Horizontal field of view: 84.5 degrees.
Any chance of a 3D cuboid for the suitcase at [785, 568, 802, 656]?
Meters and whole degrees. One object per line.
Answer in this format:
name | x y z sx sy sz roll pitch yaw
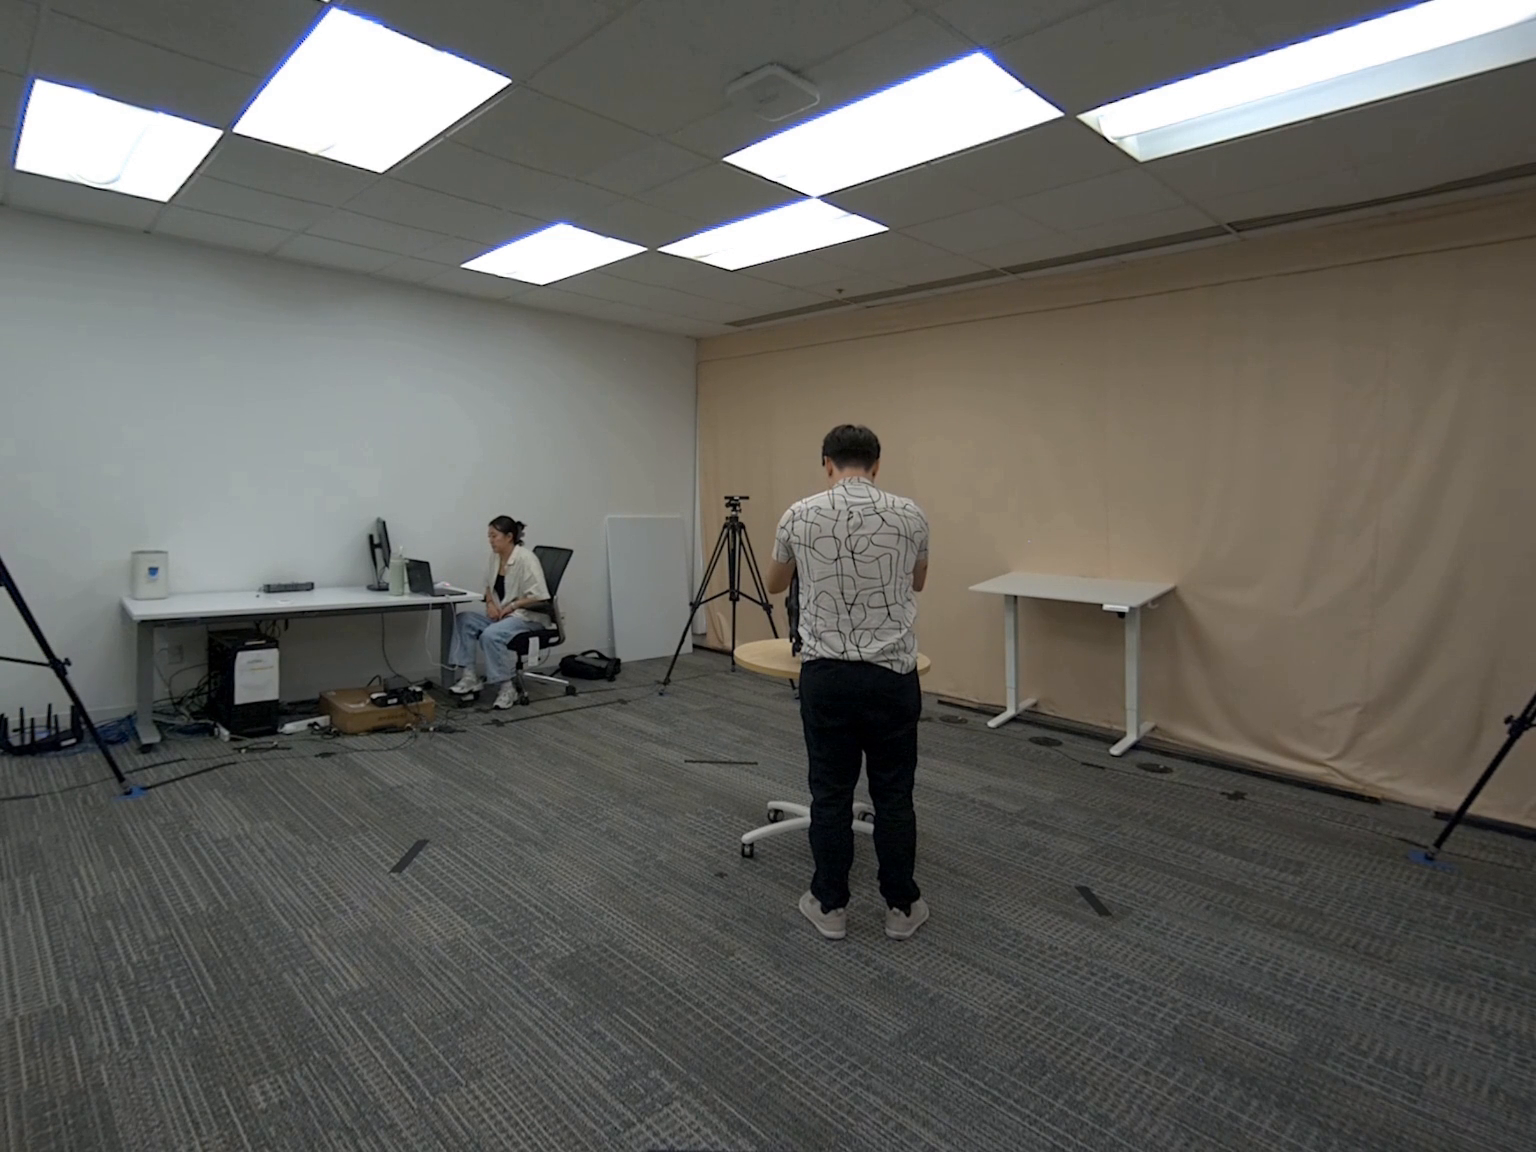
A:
suitcase | 0.263 0.008 3.196 0.376 0.547 0.249 2 6 2
